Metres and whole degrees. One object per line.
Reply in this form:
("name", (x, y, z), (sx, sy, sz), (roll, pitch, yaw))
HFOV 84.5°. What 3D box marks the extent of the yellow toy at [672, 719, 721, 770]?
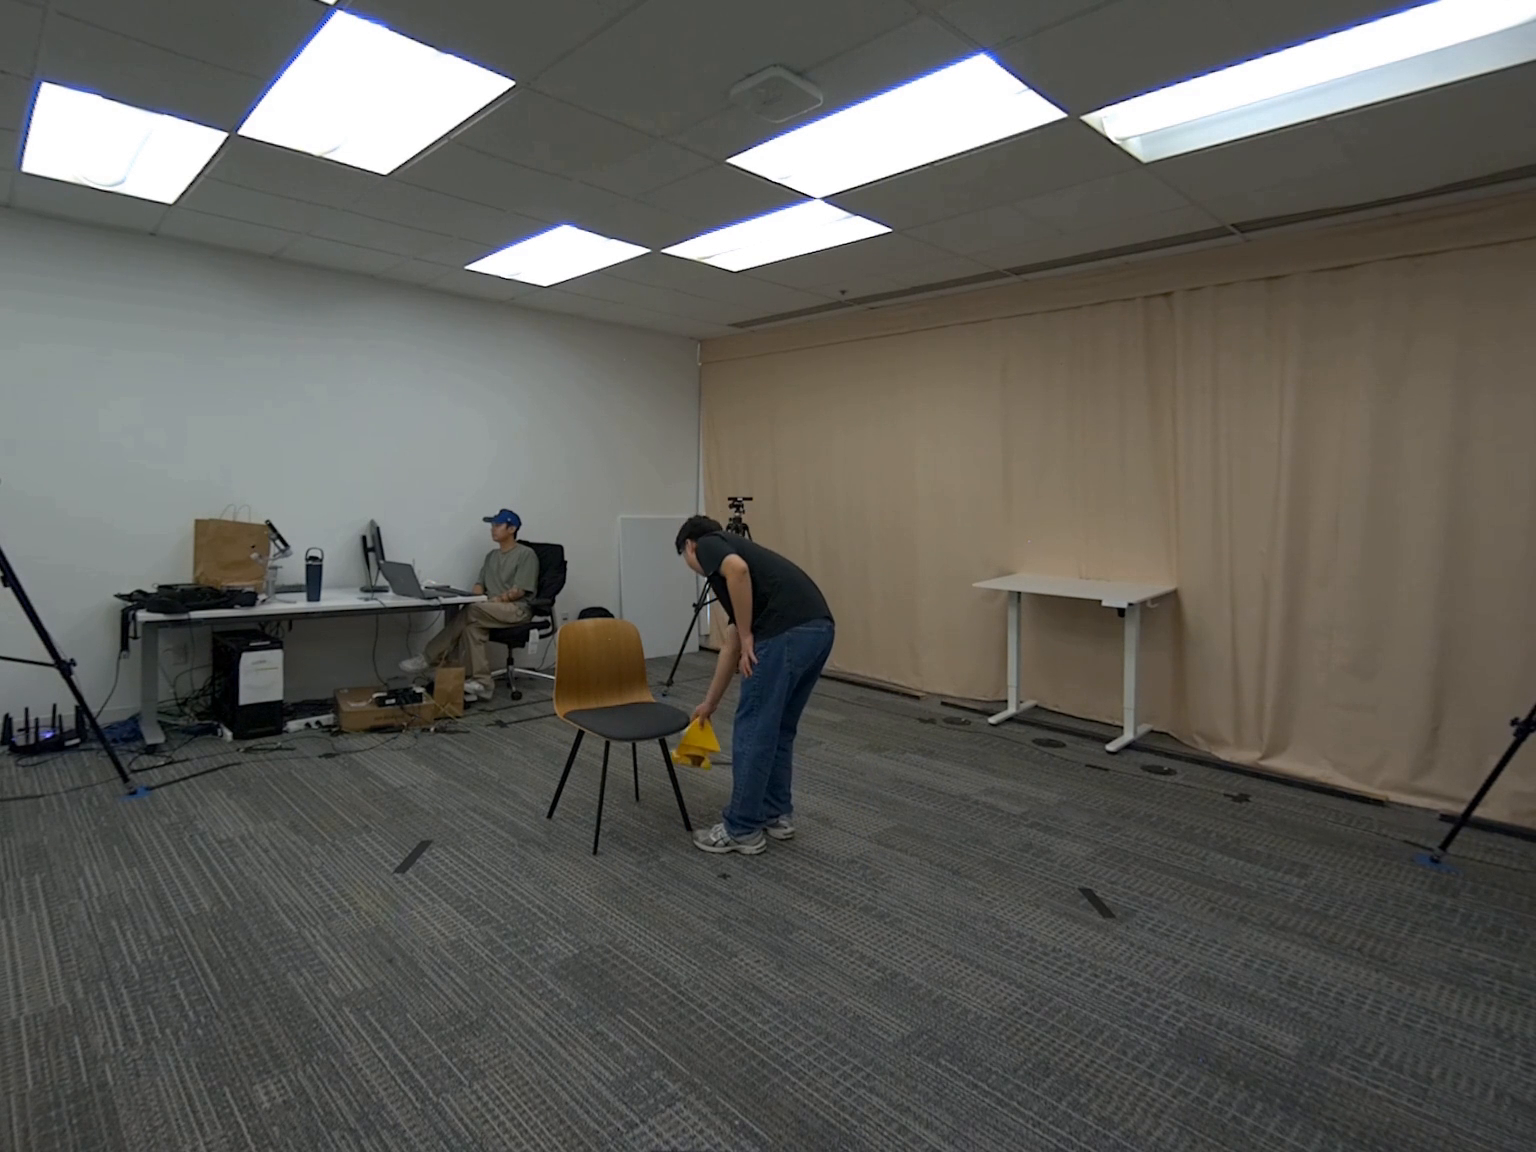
("yellow toy", (-0.345, 0.723, 3.740), (0.200, 0.233, 0.196), (18, -20, -28))
